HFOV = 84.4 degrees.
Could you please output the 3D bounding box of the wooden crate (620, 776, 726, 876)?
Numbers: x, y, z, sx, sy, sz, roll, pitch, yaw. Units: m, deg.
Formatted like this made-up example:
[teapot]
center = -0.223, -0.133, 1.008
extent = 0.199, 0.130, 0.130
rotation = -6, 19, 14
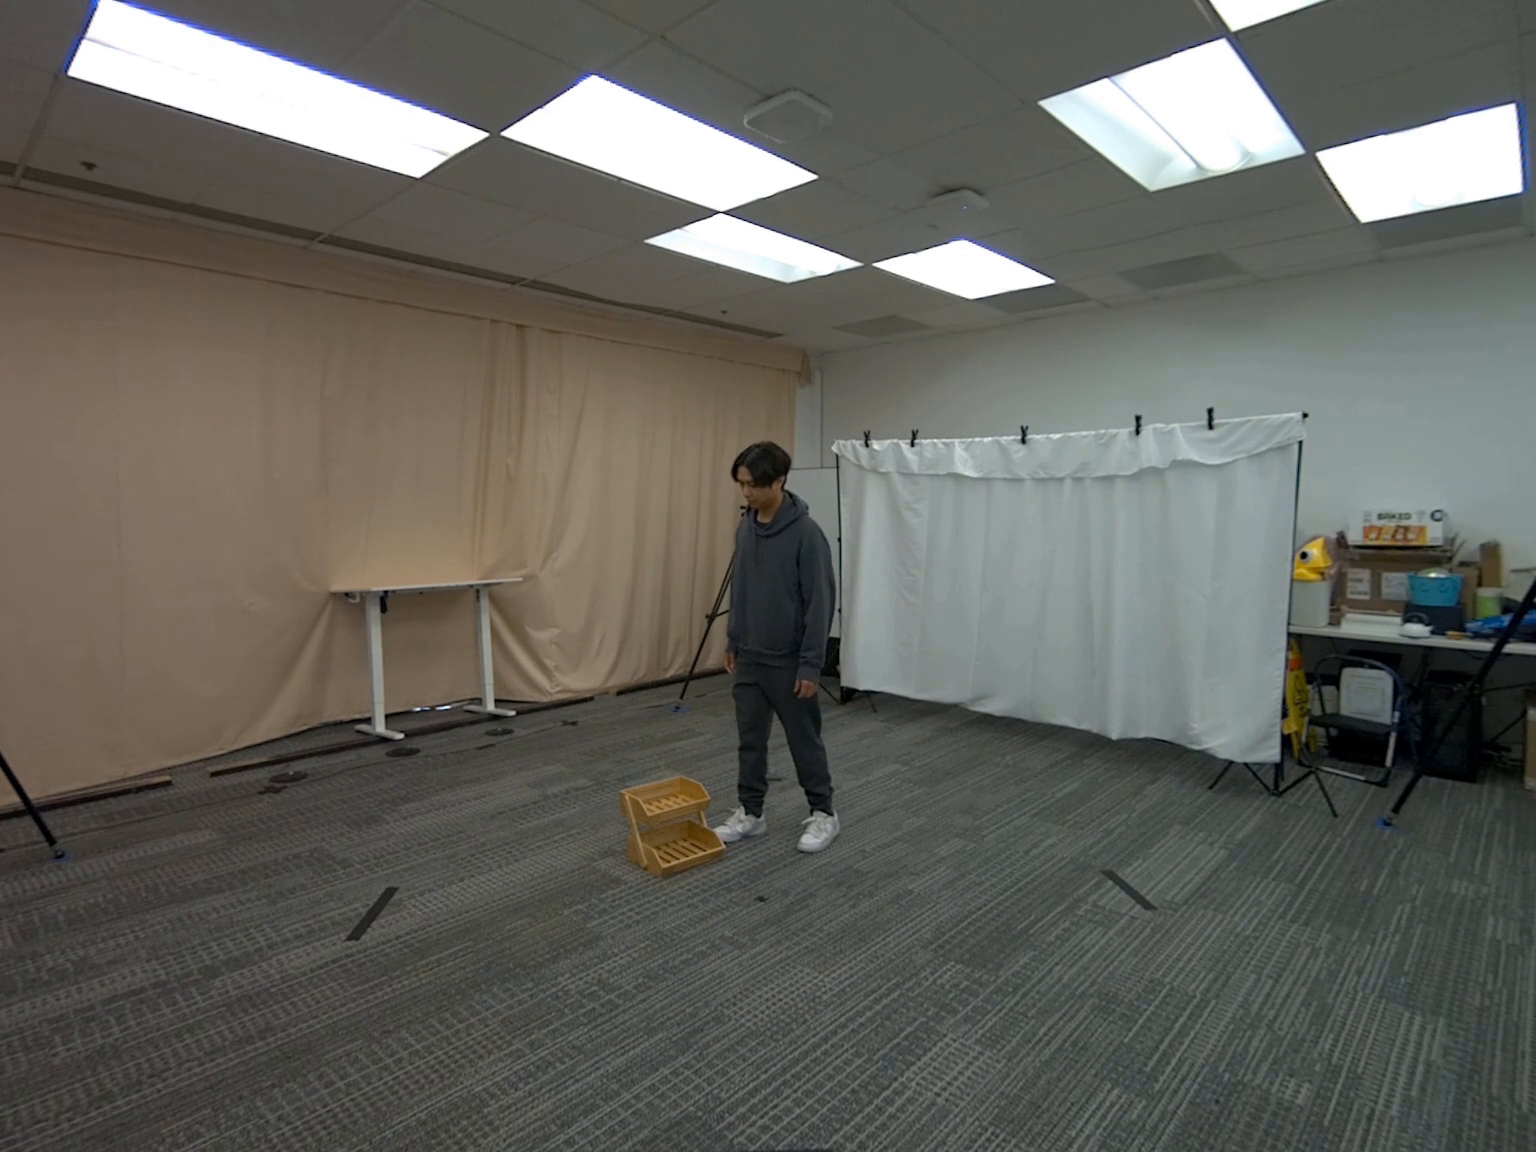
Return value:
[wooden crate]
center = -0.379, 0.983, 3.341
extent = 0.315, 0.273, 0.312
rotation = -4, 4, -39
